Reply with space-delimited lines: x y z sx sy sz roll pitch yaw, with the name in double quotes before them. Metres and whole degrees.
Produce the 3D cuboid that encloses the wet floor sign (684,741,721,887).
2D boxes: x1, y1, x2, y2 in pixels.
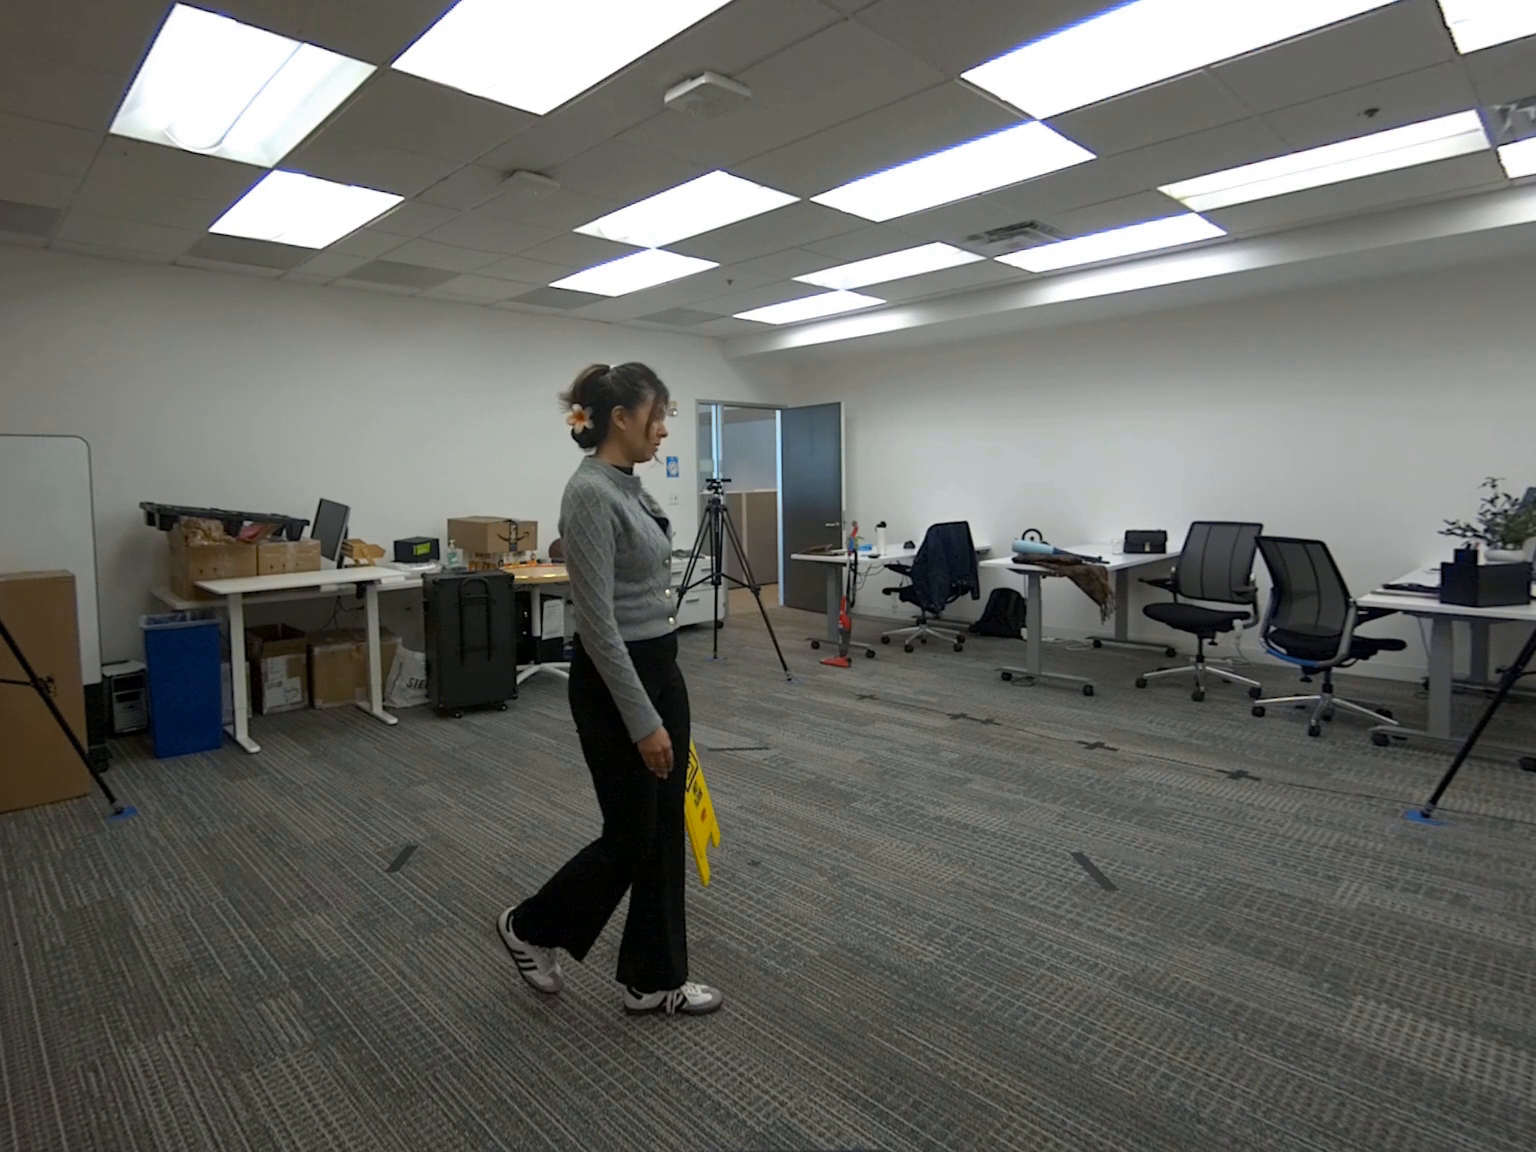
"wet floor sign" -0.318 0.599 2.676 0.292 0.638 0.283 0 13 7
